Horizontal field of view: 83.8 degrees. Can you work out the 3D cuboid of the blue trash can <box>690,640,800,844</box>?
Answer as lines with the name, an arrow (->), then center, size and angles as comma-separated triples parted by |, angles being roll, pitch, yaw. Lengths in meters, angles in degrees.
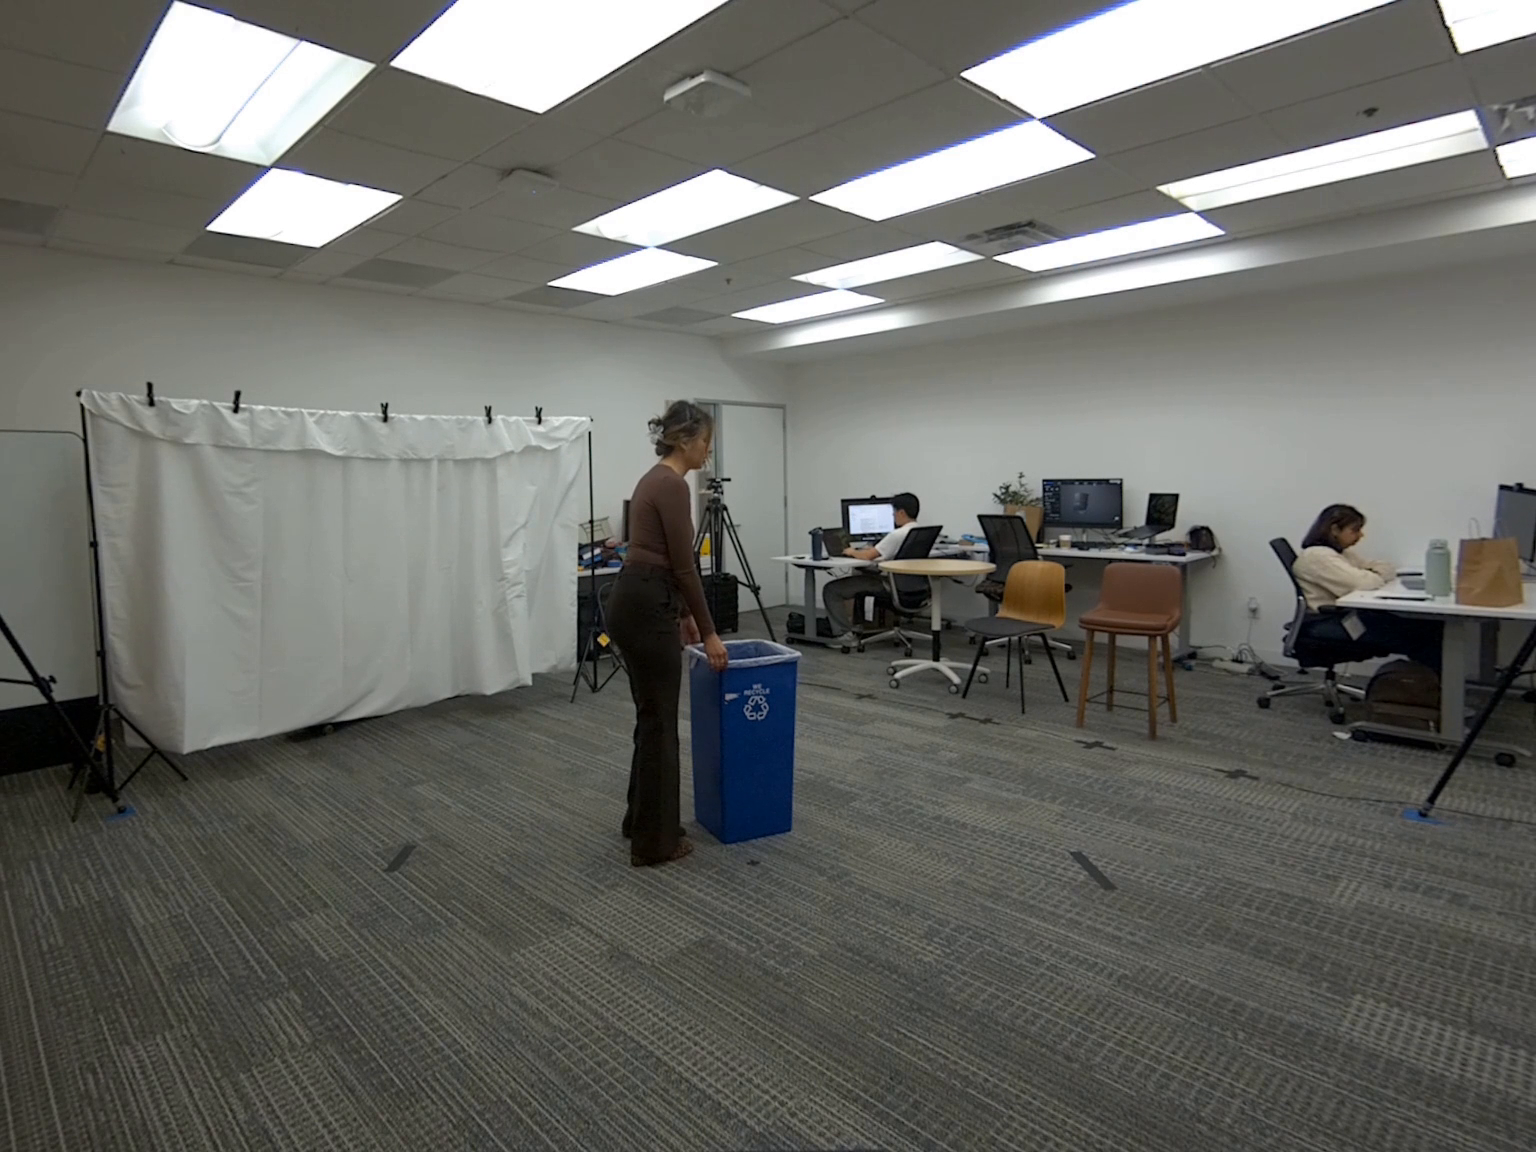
blue trash can -> -0.099, 0.646, 3.439 | 0.366, 0.710, 0.388 | -3, 5, -27
